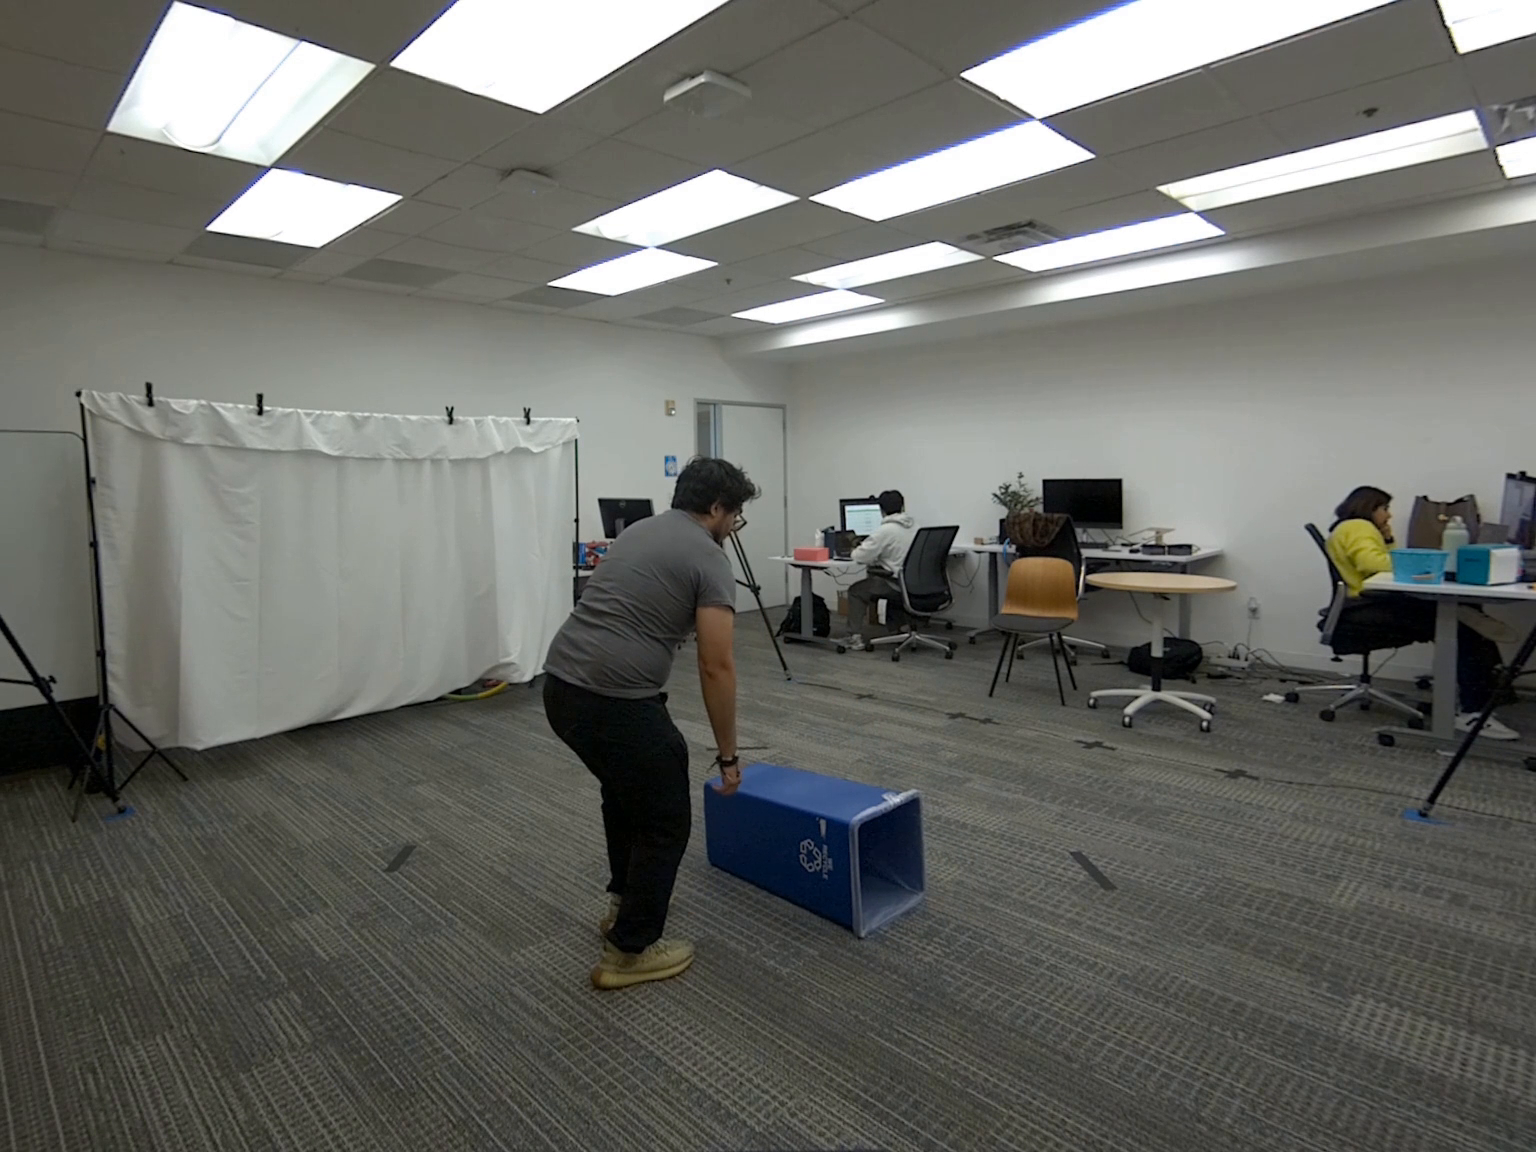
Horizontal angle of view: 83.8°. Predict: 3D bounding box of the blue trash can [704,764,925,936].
[{"bbox_3d":[0.140,0.885,2.950,0.364,0.377,0.735,-7,7,-44],"label":"blue trash can"}]
